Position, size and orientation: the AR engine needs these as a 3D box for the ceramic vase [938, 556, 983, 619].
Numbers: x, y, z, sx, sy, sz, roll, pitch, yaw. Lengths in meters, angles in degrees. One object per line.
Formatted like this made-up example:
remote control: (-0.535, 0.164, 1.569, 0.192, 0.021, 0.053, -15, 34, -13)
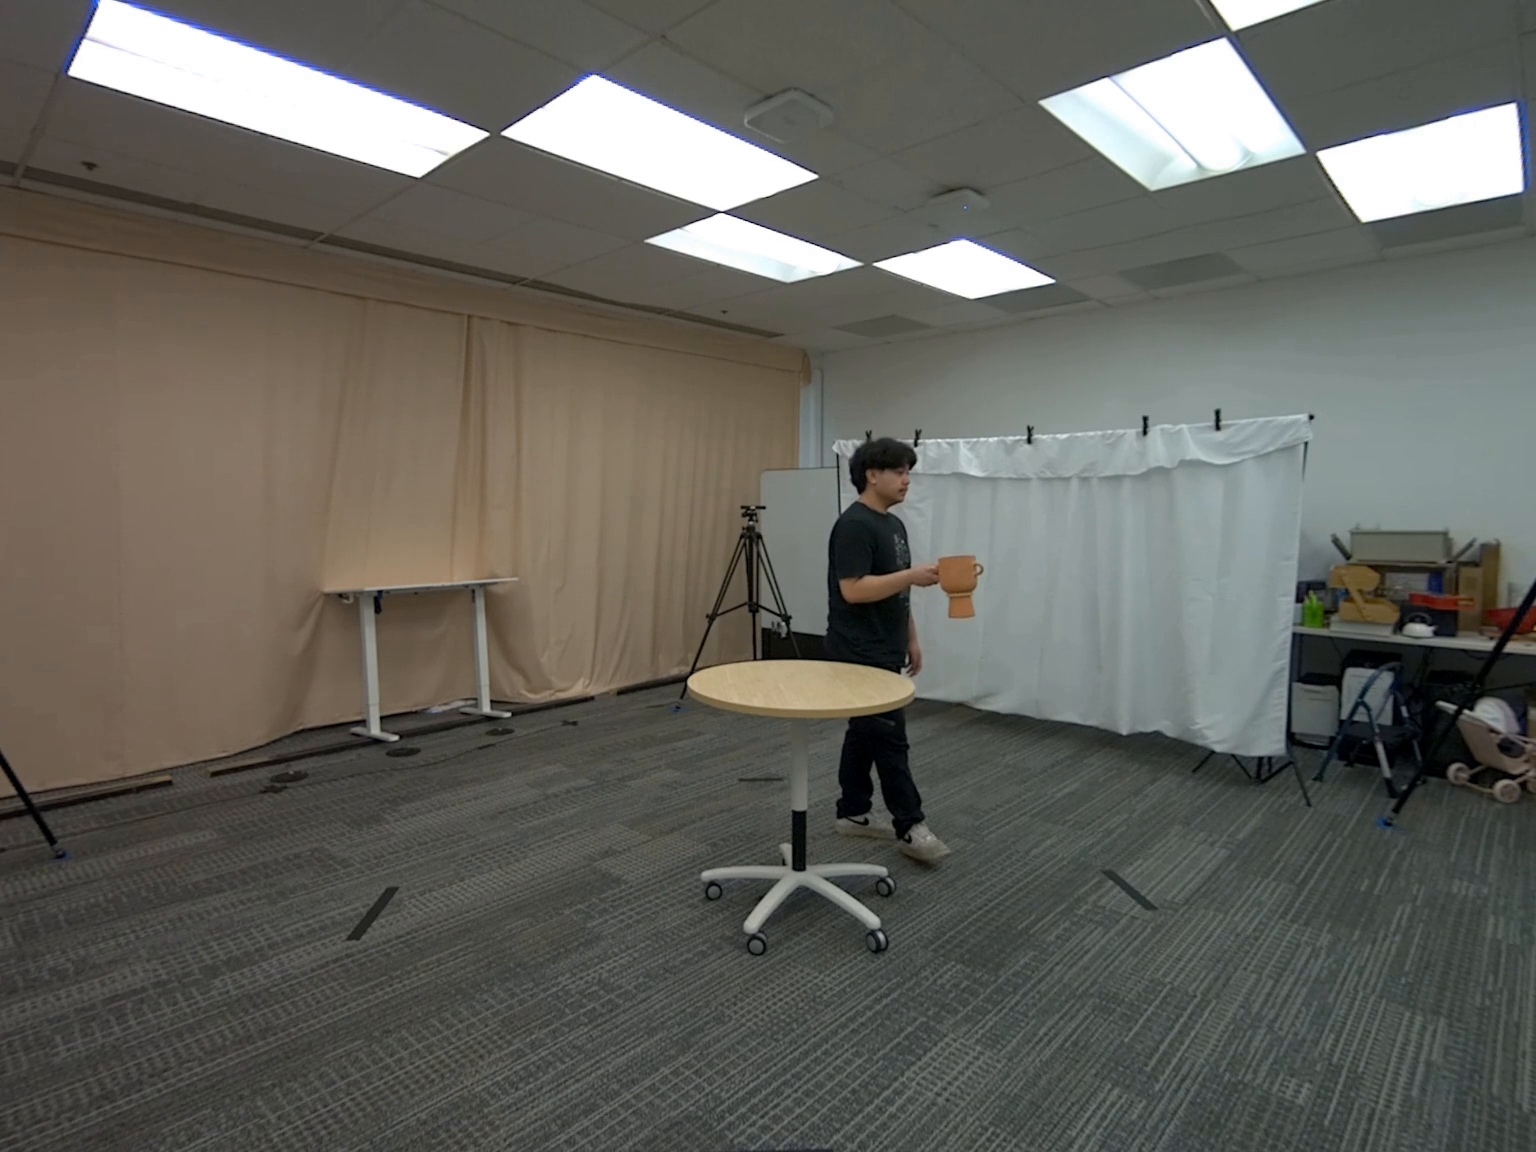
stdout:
ceramic vase: (0.699, 0.039, 3.073, 0.133, 0.220, 0.160, -5, 0, -12)
